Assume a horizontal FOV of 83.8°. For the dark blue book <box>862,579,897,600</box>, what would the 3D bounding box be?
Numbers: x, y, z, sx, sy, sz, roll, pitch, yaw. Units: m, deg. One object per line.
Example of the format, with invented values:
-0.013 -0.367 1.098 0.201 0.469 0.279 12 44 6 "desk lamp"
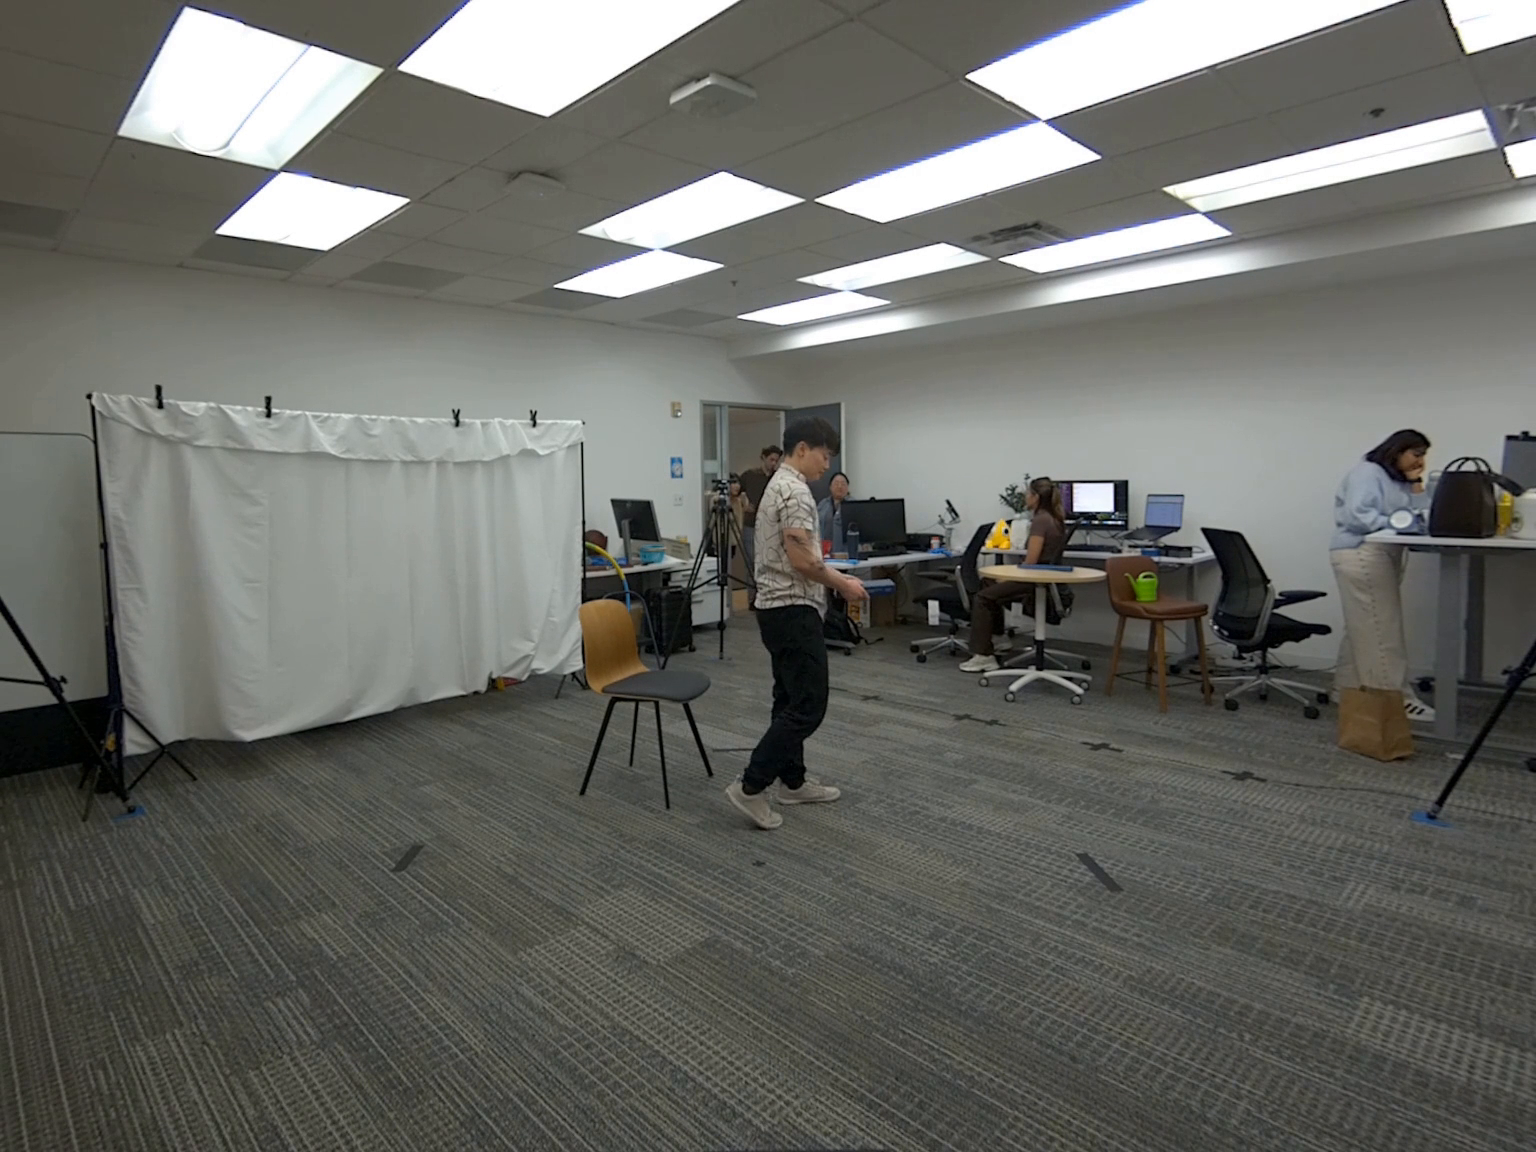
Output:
0.390 0.058 3.604 0.246 0.045 0.164 -5 9 4 "dark blue book"
